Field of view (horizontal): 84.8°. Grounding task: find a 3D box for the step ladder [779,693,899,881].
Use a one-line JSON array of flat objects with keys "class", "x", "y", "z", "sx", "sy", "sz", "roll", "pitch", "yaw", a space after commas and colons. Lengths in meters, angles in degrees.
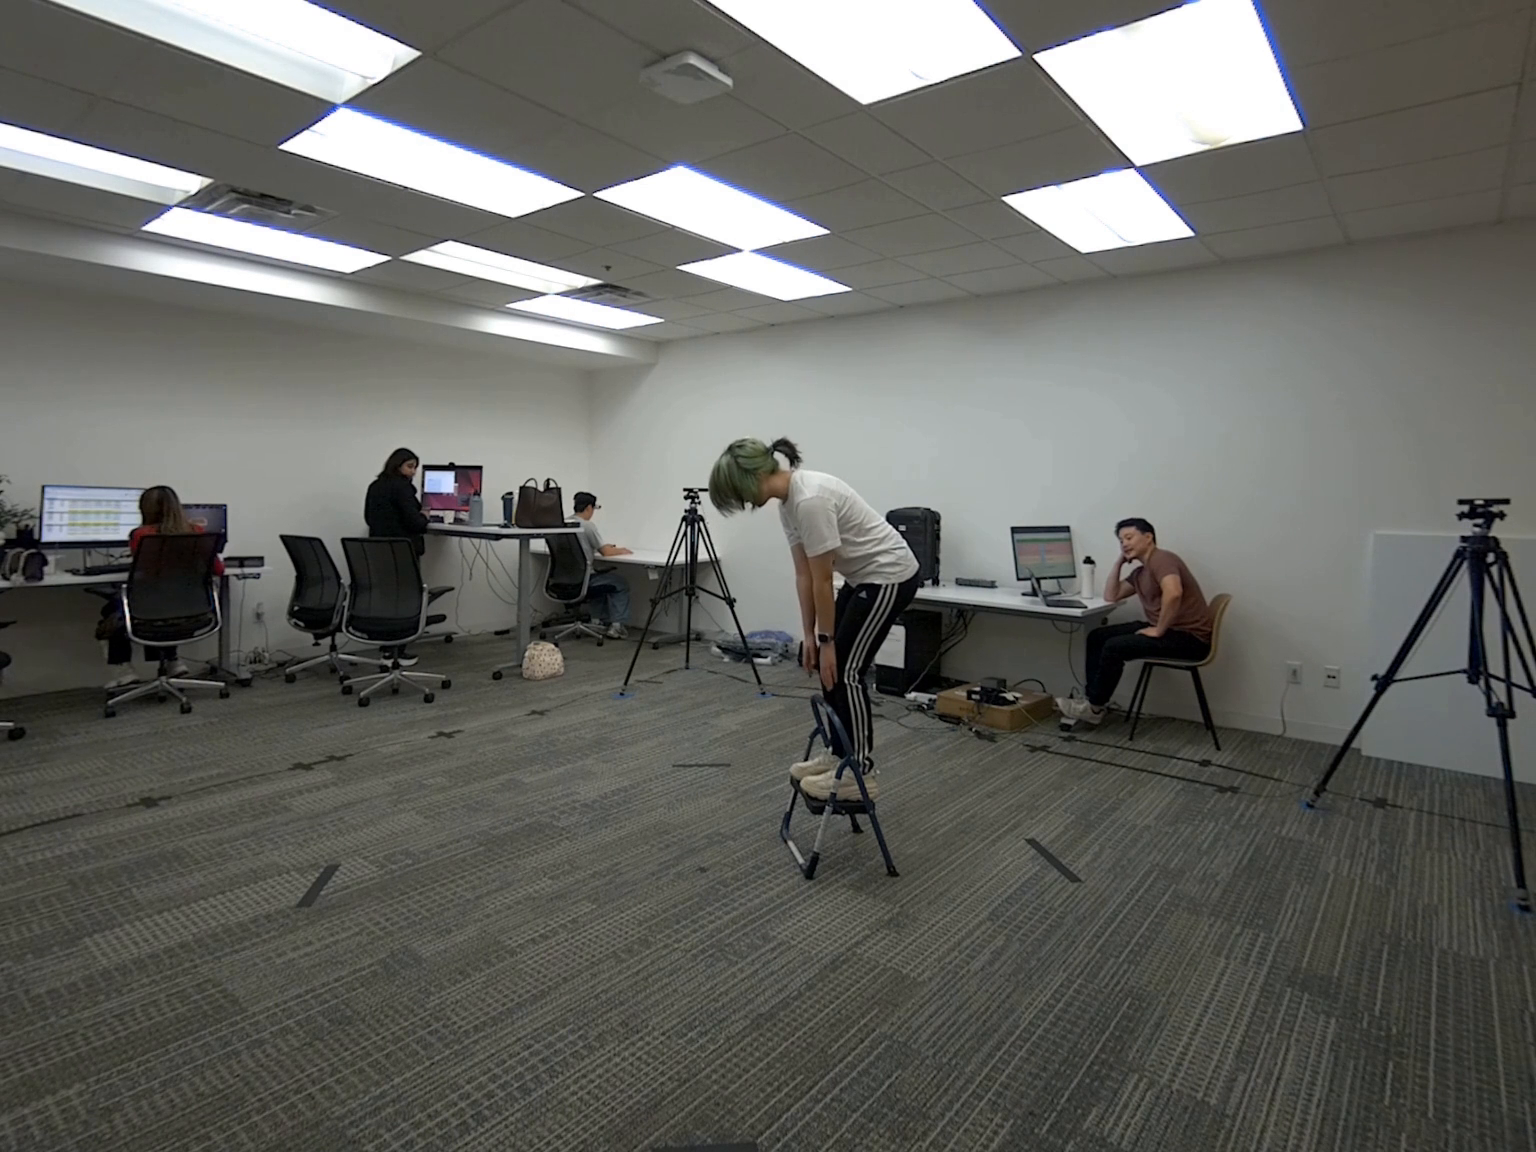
[{"class": "step ladder", "x": 0.259, "y": 0.766, "z": 3.255, "sx": 0.345, "sy": 0.604, "sz": 0.437, "roll": 2, "pitch": 4, "yaw": -12}]
